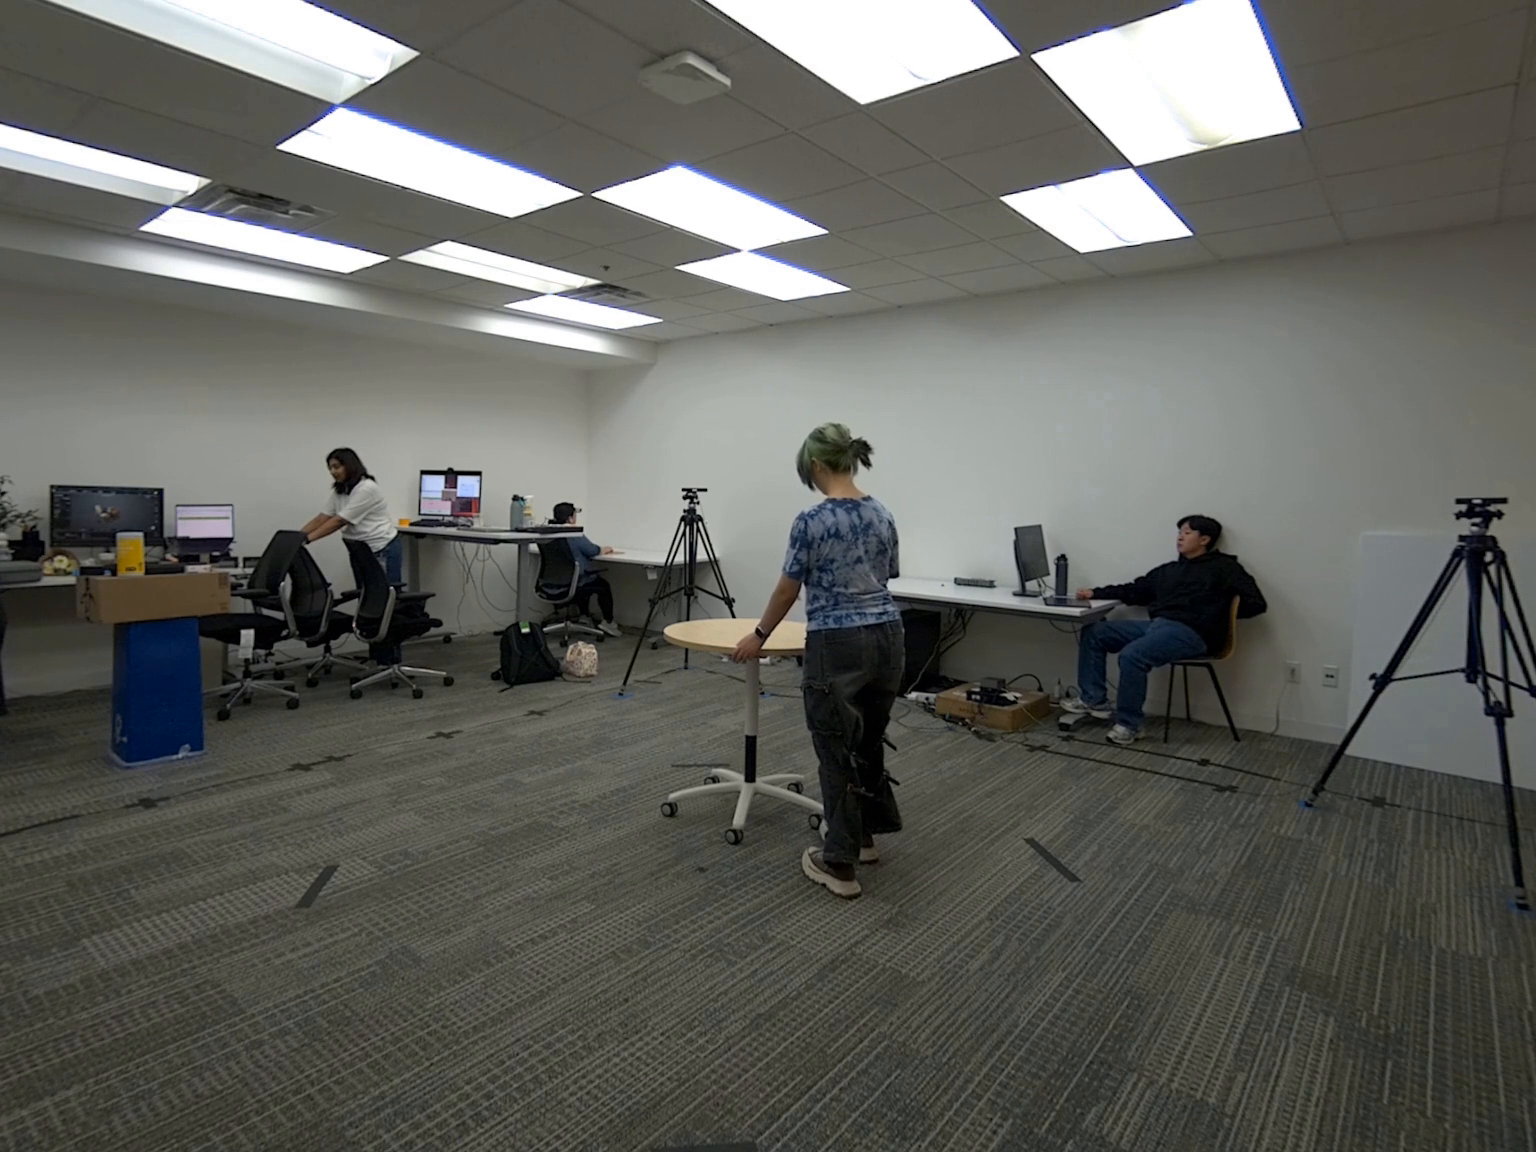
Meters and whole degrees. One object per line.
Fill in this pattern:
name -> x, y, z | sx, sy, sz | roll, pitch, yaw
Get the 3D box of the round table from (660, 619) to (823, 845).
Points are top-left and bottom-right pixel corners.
round table -> -0.082, 0.631, 3.645 | 0.763, 0.791, 0.768 | 1, 4, -2
